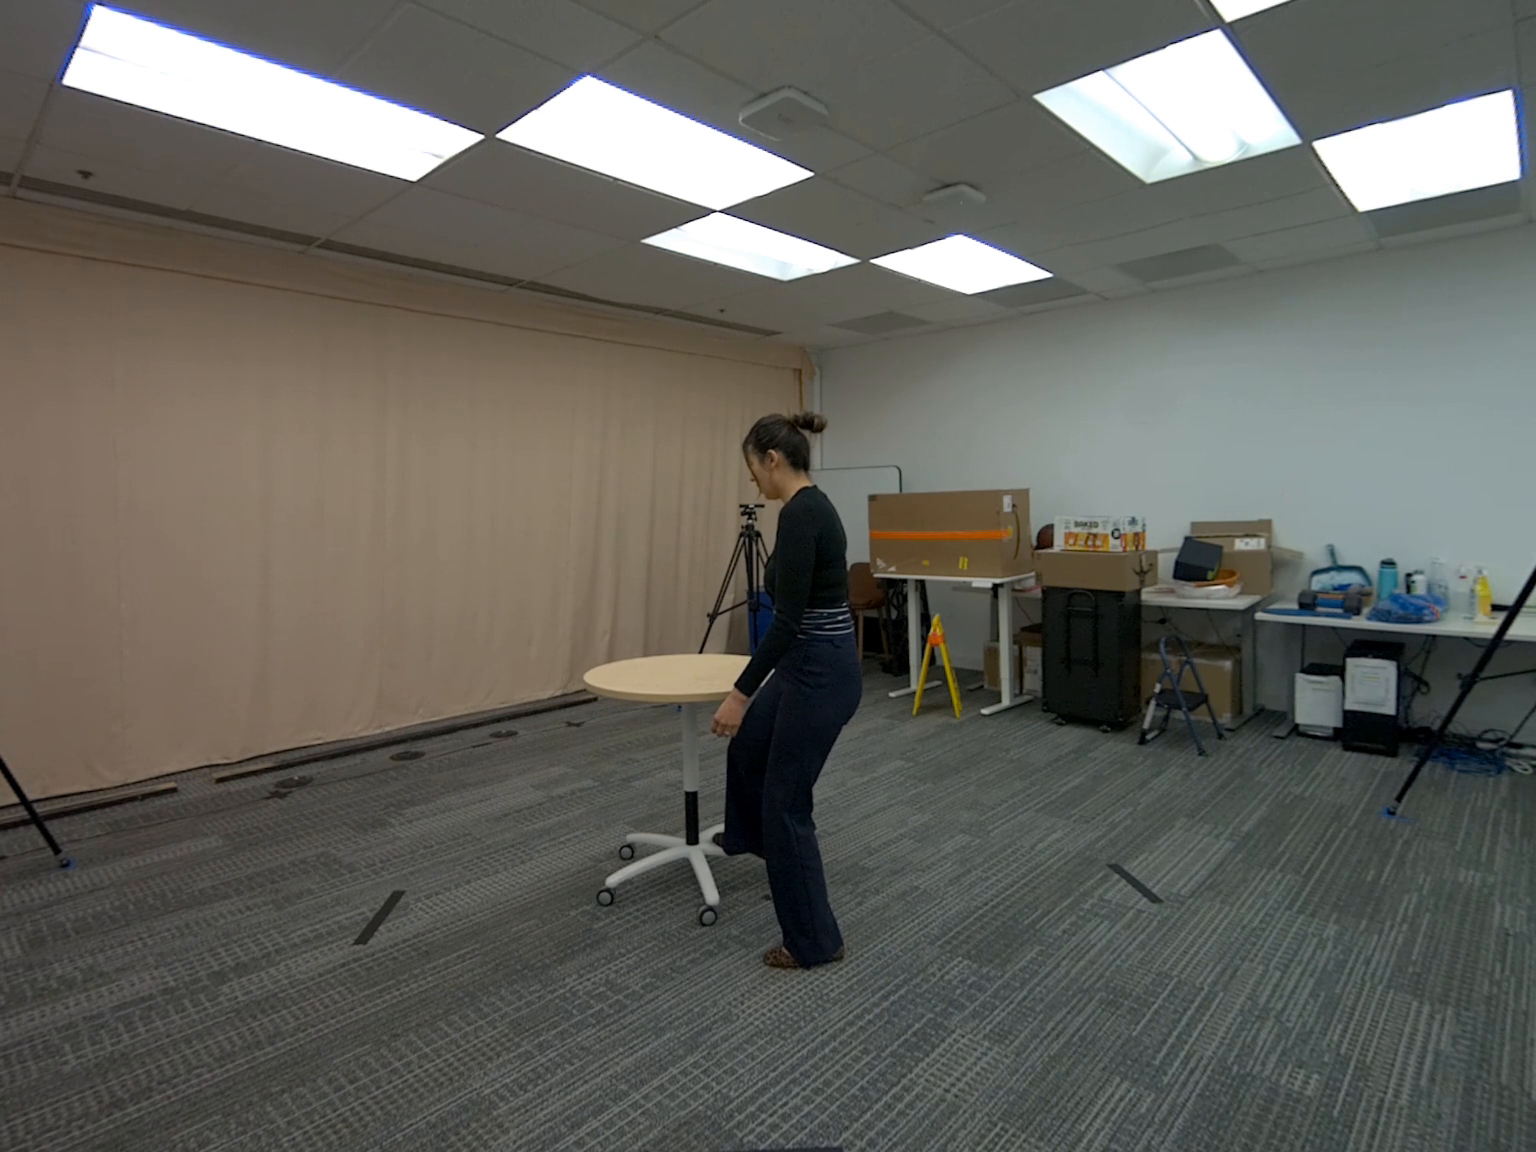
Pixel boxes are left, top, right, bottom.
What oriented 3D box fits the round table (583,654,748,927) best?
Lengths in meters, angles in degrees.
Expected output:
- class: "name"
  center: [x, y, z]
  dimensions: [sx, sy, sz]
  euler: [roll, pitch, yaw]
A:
- class: "round table"
  center: [-0.293, 0.747, 3.113]
  dimensions: [0.763, 0.792, 0.766]
  euler: [-1, 3, -2]
